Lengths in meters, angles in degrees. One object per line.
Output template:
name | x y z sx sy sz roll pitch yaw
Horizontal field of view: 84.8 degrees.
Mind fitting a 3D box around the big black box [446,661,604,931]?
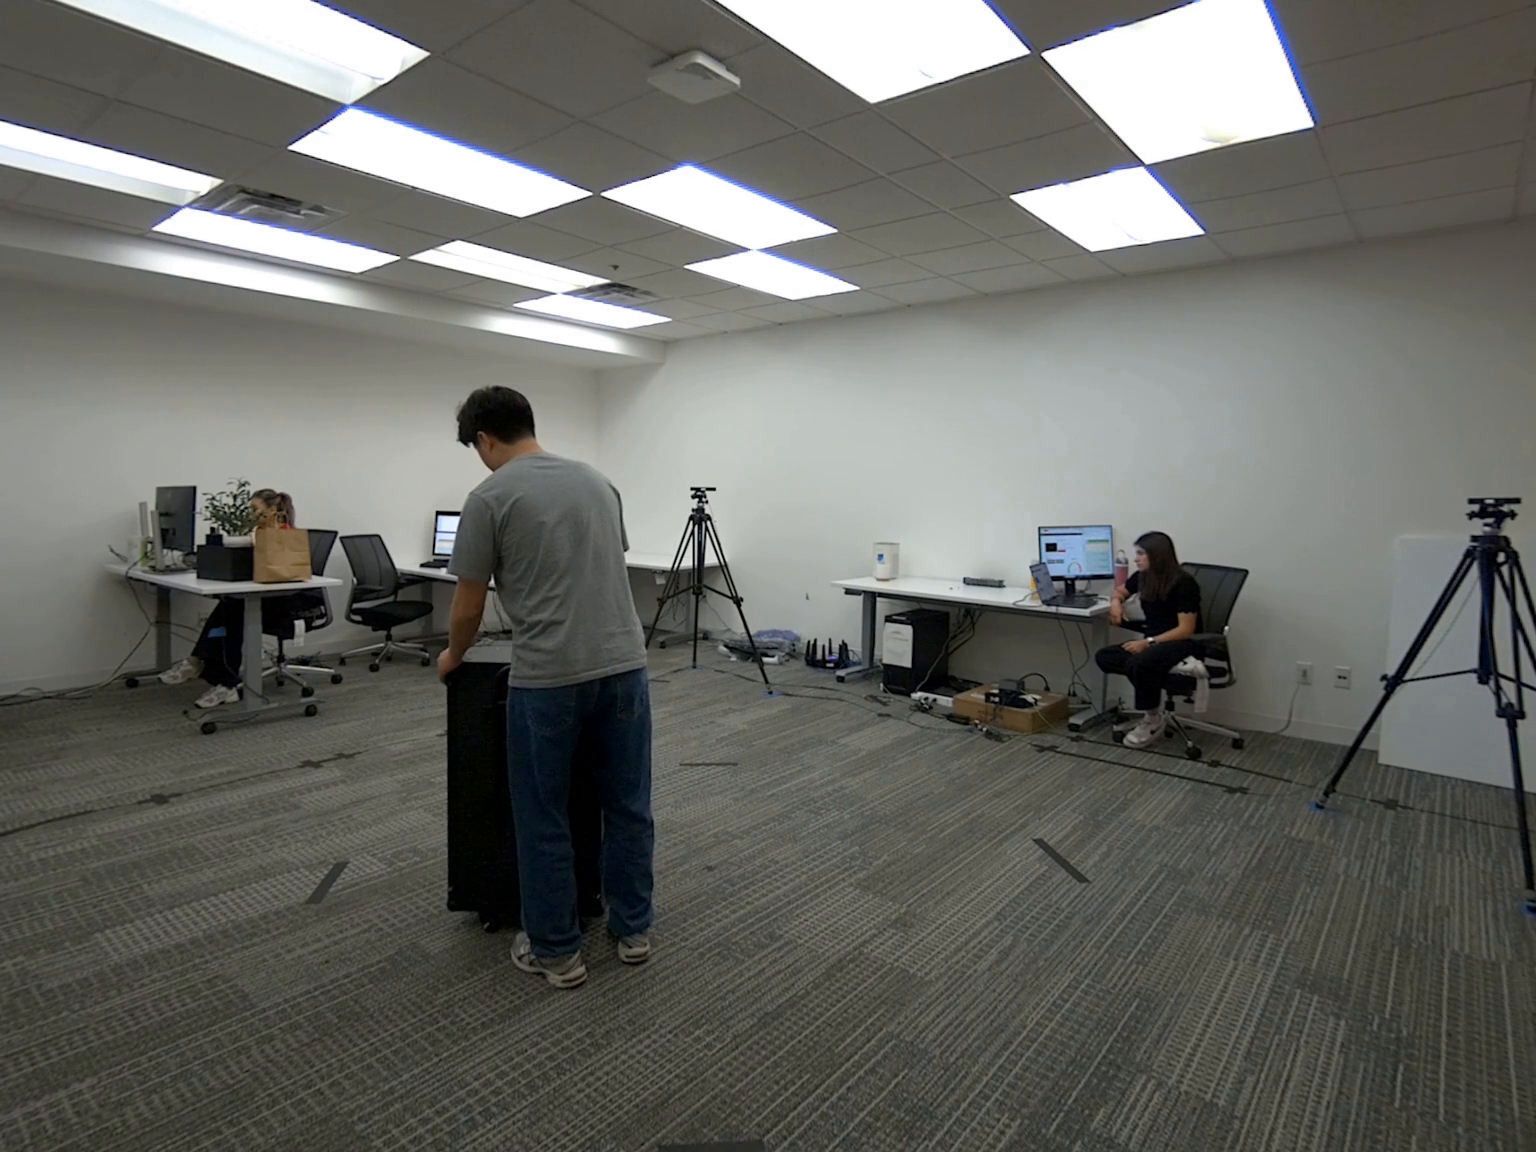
big black box | -0.757 0.666 2.758 0.522 0.859 0.397 1 4 1
